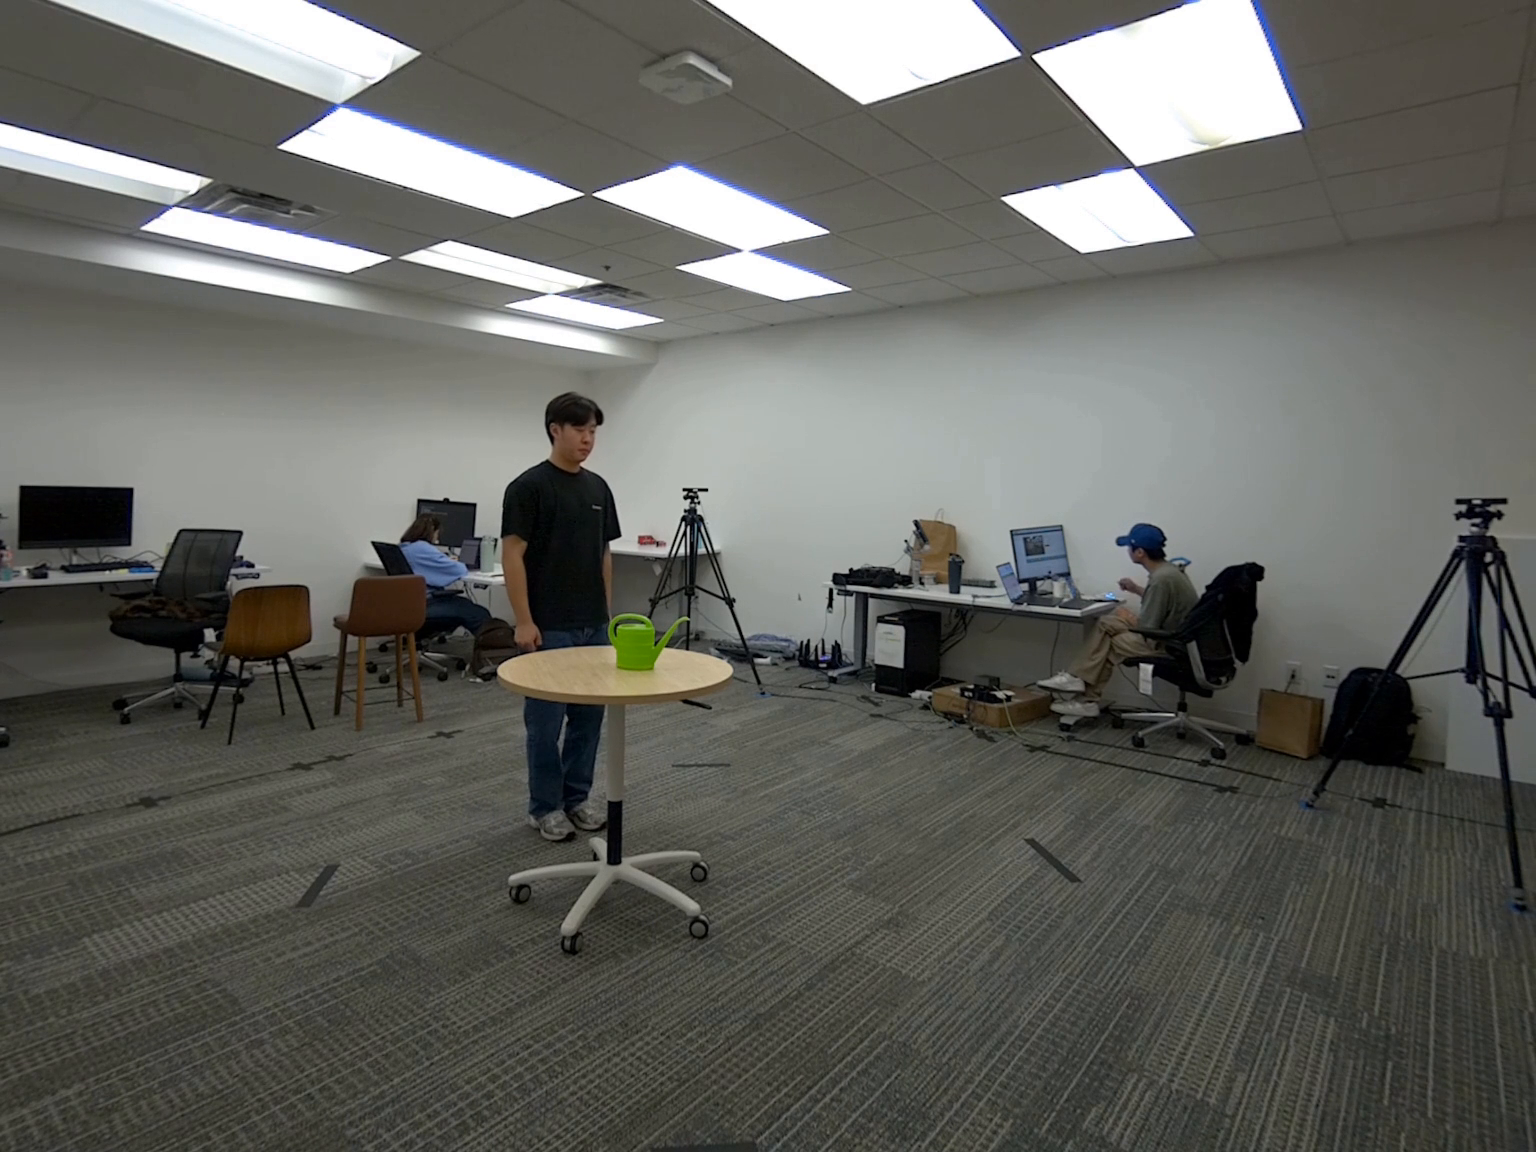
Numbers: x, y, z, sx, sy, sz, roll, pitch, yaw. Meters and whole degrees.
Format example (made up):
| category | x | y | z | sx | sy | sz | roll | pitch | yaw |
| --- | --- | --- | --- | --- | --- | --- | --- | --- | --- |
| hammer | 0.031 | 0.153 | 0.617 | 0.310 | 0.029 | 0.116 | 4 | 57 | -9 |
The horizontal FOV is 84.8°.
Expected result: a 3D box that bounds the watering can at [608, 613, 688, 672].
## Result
| category | x | y | z | sx | sy | sz | roll | pitch | yaw |
| --- | --- | --- | --- | --- | --- | --- | --- | --- | --- |
| watering can | -0.412 | 0.213 | 2.781 | 0.286 | 0.176 | 0.095 | 2 | 4 | 28 |
